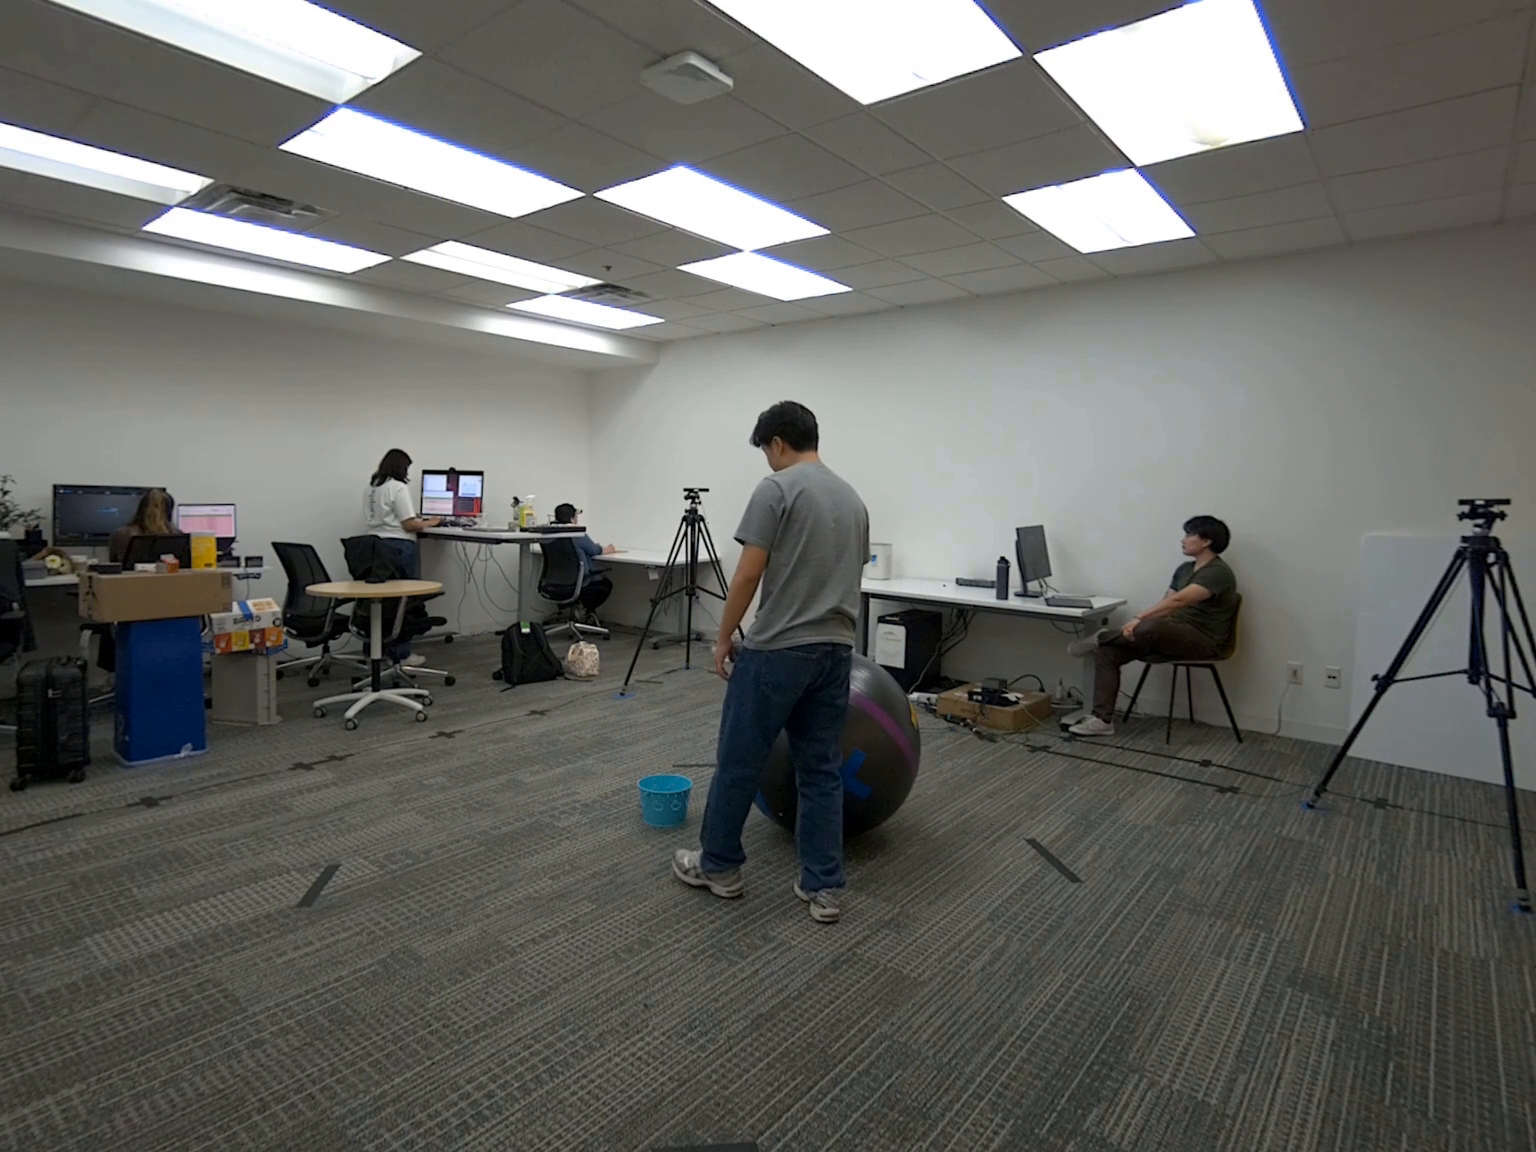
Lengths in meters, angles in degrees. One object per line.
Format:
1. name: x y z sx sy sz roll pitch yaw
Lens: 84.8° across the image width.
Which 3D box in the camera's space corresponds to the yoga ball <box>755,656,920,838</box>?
1. yoga ball: 0.215 0.672 3.465 0.757 0.755 0.762 1 4 -2
